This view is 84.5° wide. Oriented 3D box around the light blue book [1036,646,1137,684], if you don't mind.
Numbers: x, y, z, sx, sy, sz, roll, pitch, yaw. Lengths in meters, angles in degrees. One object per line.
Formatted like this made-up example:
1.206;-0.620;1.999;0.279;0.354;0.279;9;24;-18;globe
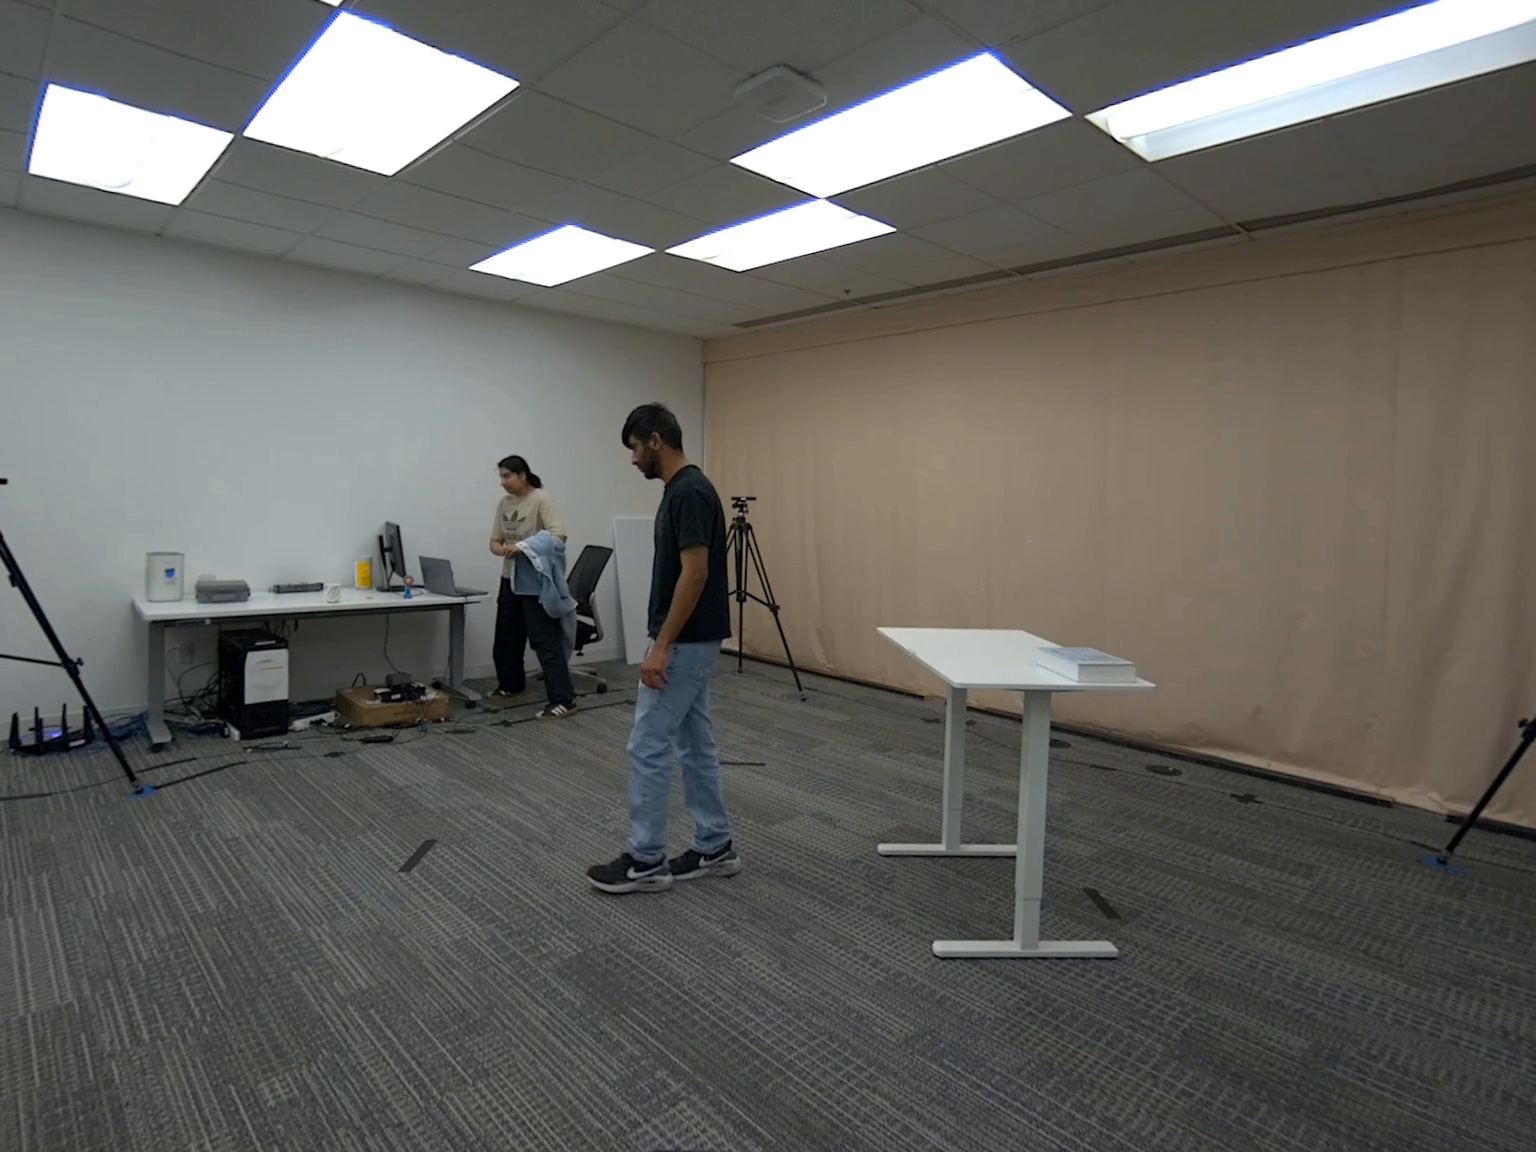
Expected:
0.966;0.269;2.606;0.190;0.059;0.263;2;5;-9;light blue book
